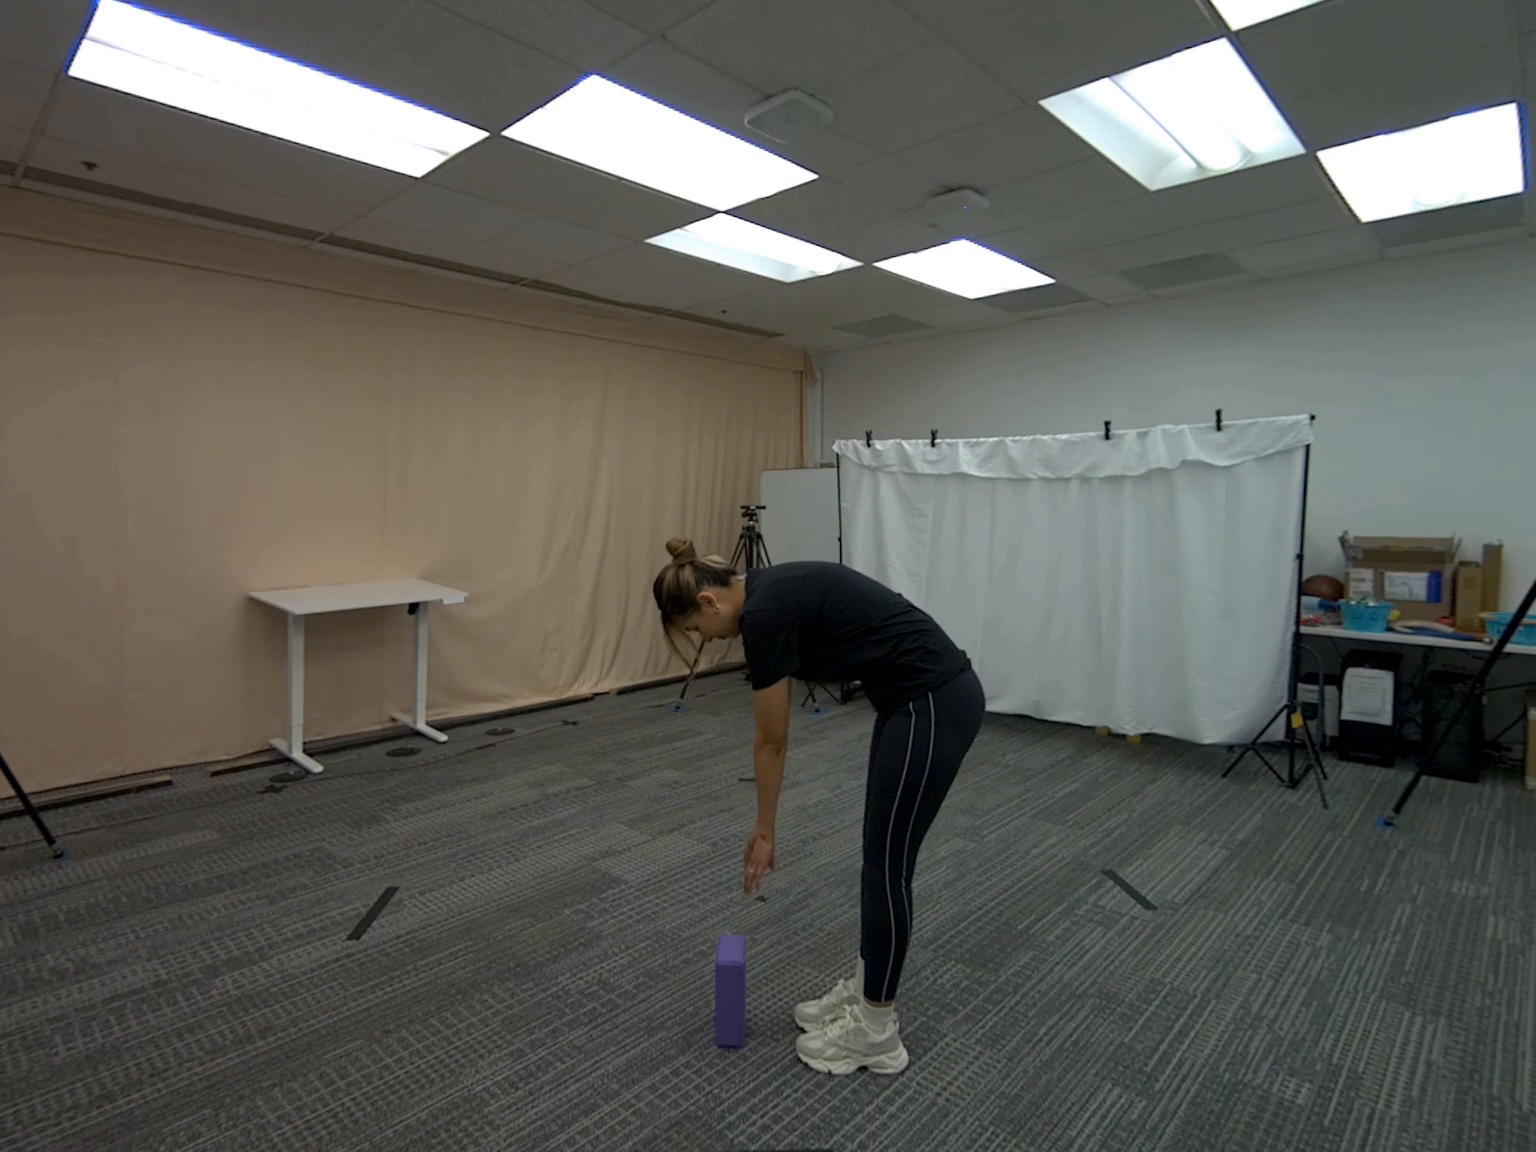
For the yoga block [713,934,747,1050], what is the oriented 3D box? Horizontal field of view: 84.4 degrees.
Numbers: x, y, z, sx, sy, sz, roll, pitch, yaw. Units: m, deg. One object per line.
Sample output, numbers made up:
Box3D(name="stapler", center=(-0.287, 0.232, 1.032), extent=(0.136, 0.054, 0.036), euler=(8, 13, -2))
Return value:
Box3D(name="yoga block", center=(-0.097, 1.093, 2.222), extent=(0.076, 0.229, 0.149), euler=(0, 2, 0))
